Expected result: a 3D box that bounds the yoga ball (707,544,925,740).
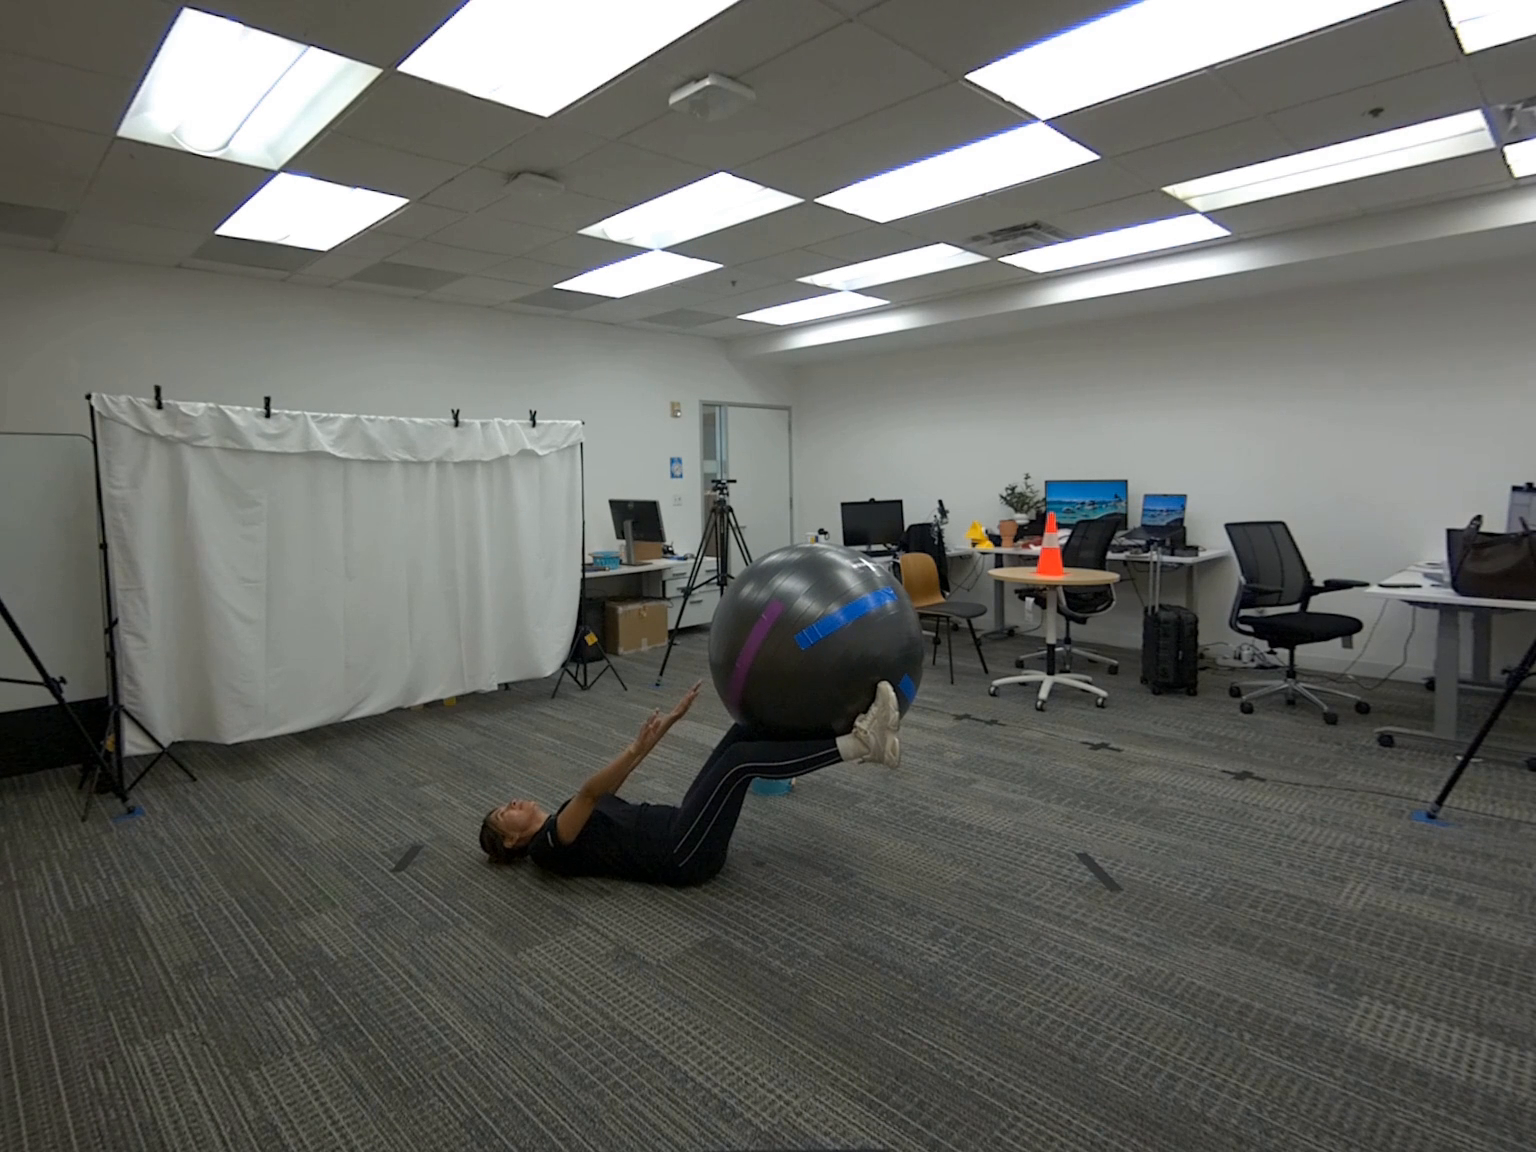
[{"bbox_3d":[0.159,0.264,3.021,0.757,0.755,0.762,-1,5,-2],"label":"yoga ball"}]
